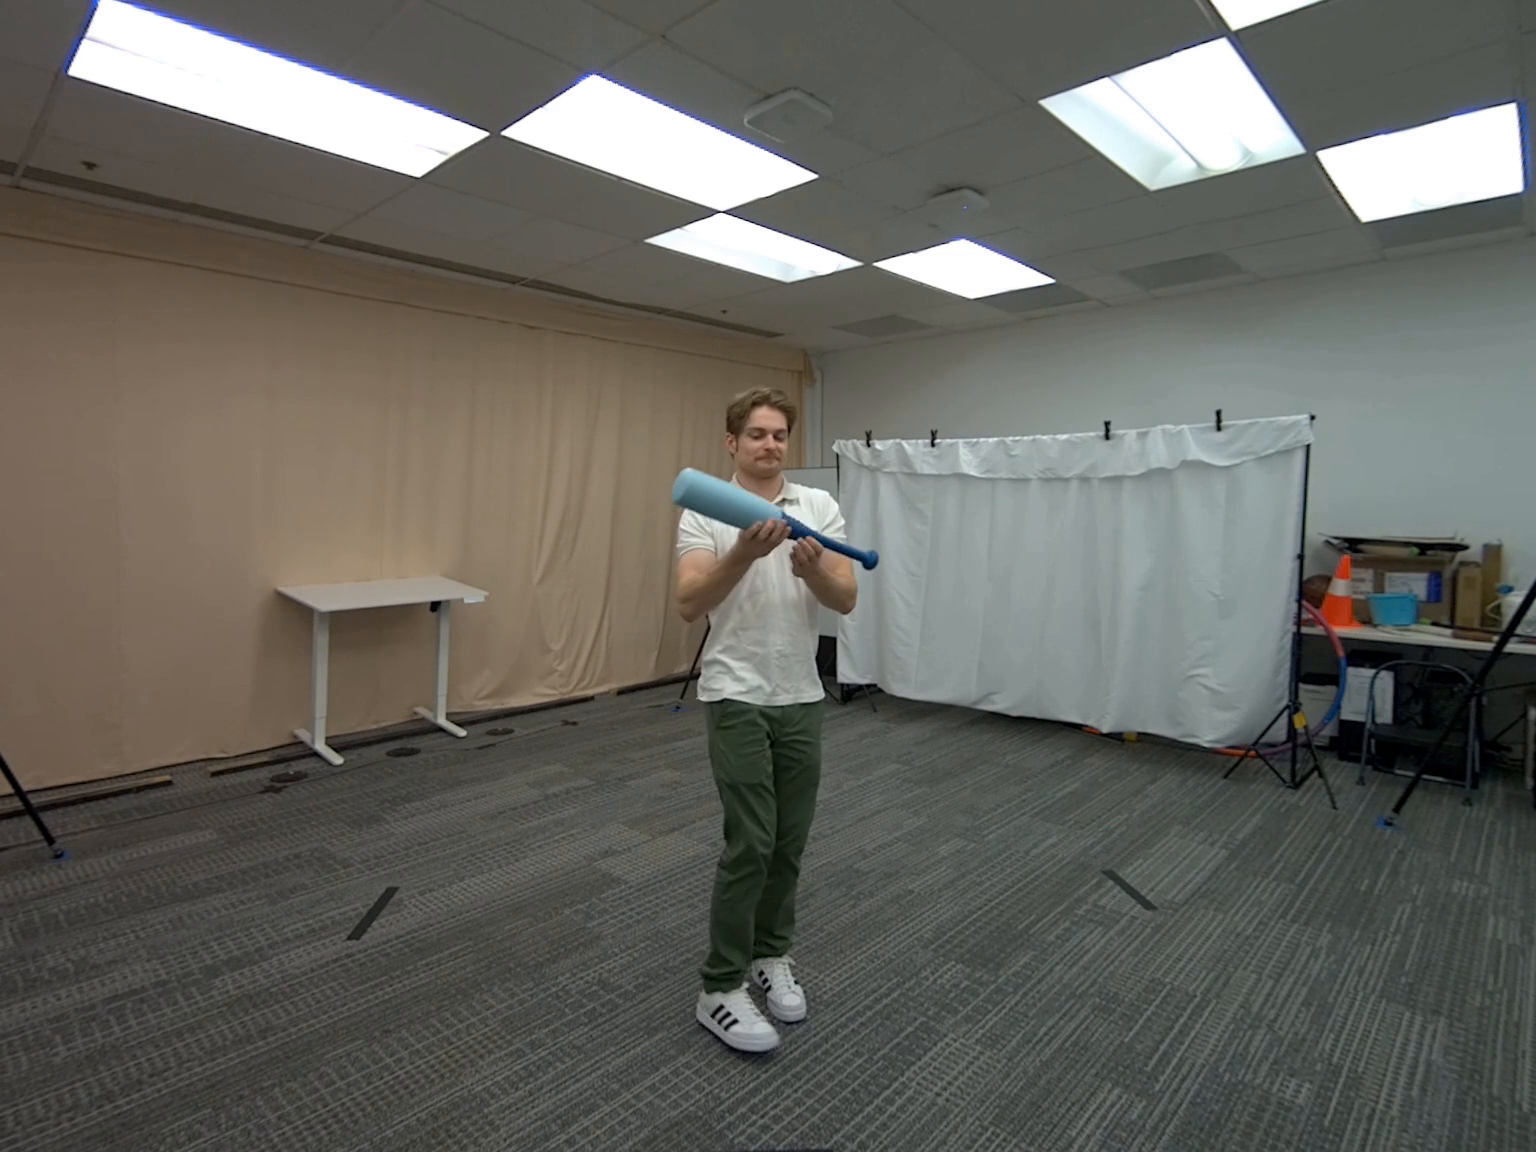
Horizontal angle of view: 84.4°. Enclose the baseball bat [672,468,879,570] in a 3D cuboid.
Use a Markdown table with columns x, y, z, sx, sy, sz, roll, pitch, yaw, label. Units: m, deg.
| x | y | z | sx | sy | sz | roll | pitch | yaw | label |
| --- | --- | --- | --- | --- | --- | --- | --- | --- | --- |
| 0.032 | -0.117 | 1.935 | 0.529 | 0.089 | 0.091 | 19 | -4 | -22 | baseball bat |
